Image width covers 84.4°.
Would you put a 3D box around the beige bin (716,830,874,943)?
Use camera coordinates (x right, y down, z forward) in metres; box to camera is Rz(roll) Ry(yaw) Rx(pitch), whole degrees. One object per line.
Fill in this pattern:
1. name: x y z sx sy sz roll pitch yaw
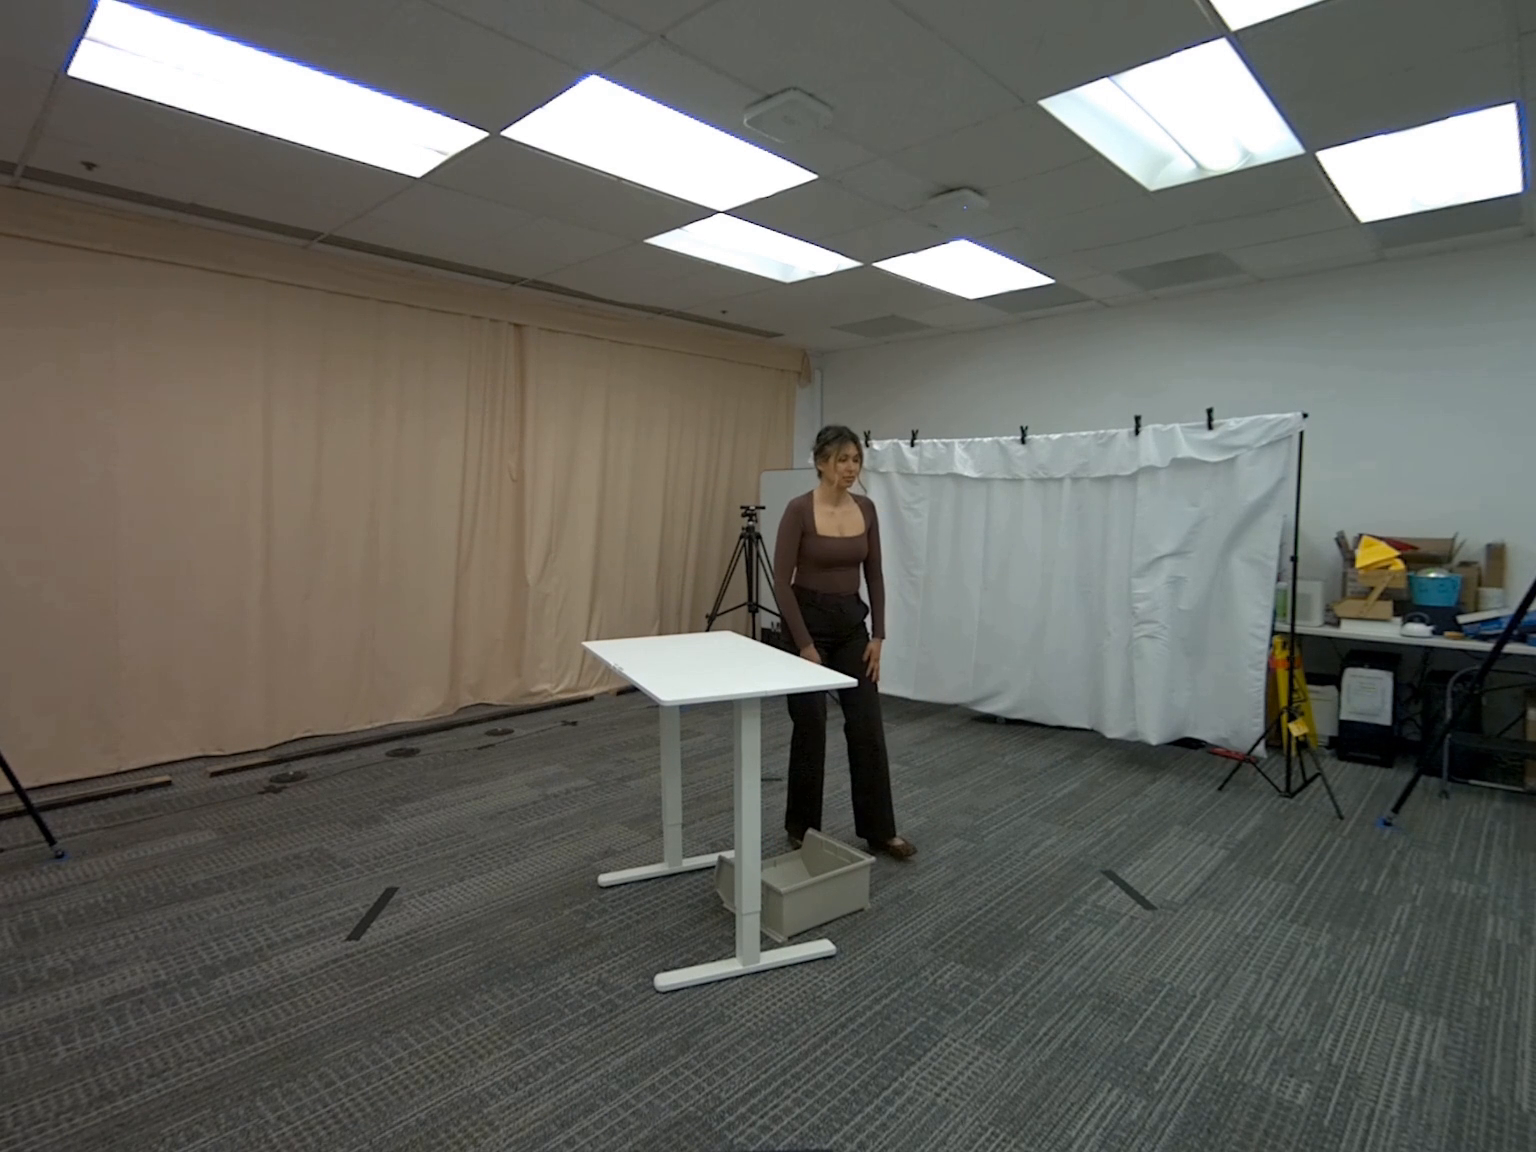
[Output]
1. beige bin: 0.091 1.062 2.932 0.410 0.188 0.390 -3 6 -37
